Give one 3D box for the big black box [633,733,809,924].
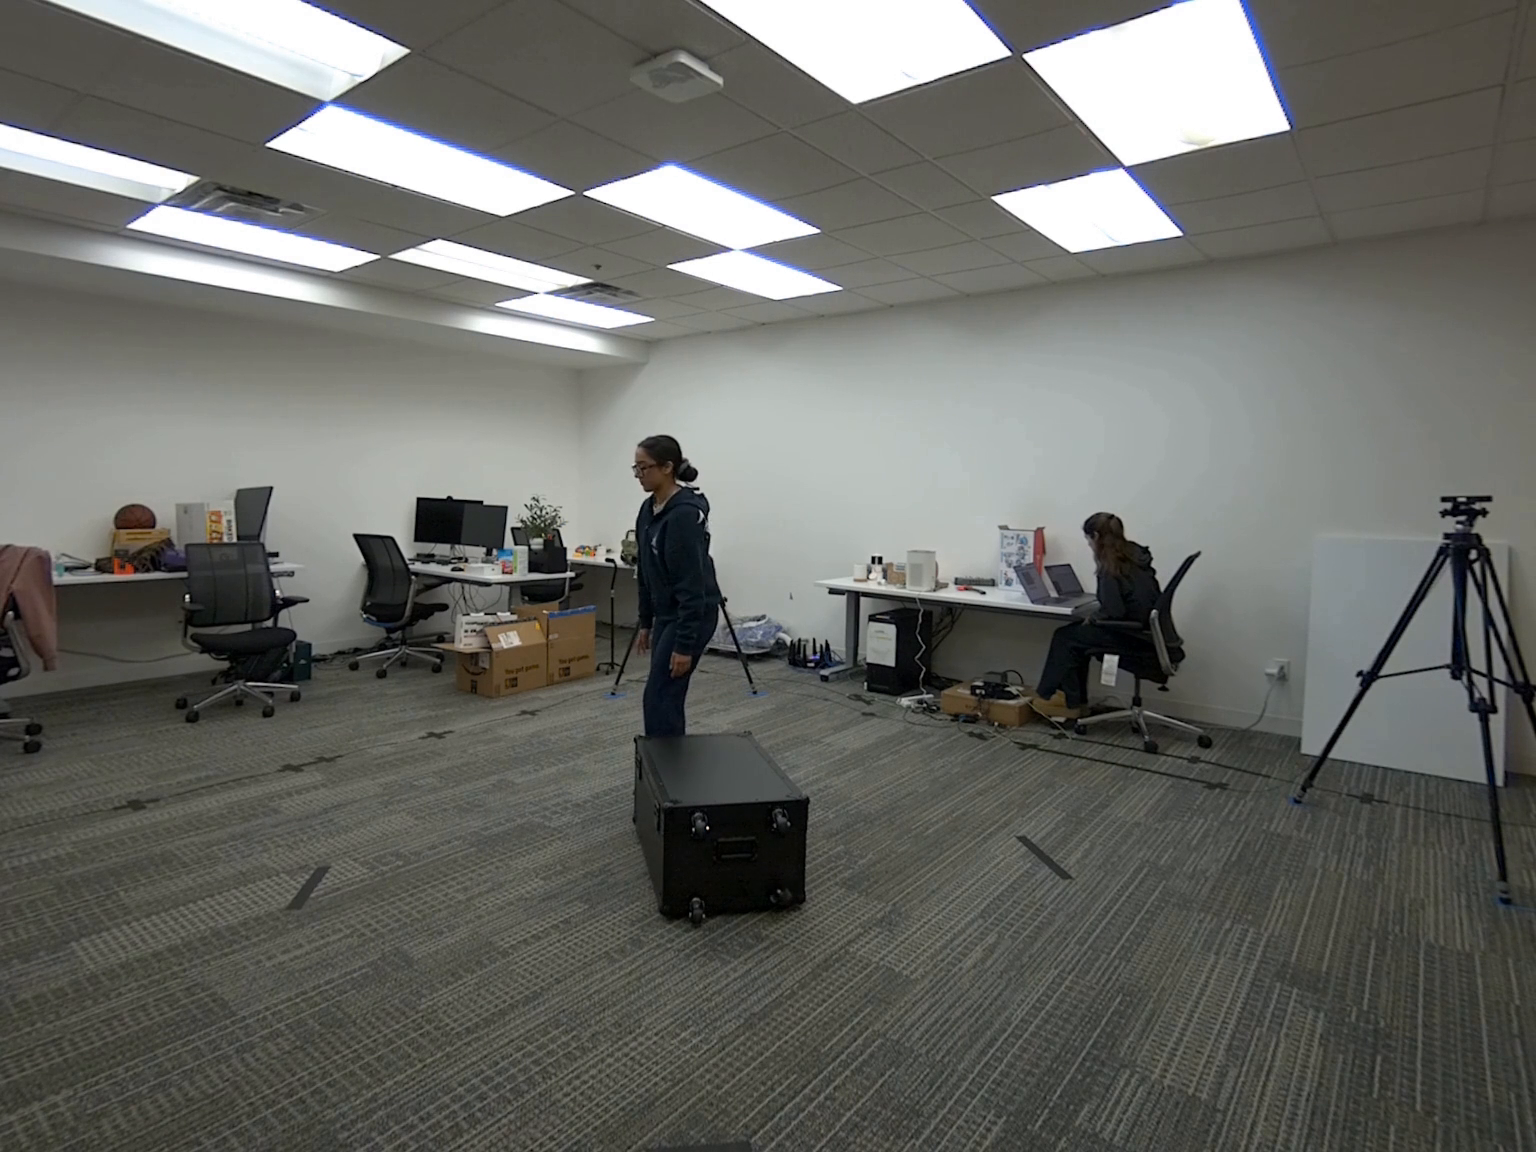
[{"bbox_3d":[-0.206,0.878,3.094,0.513,0.395,0.878,0,5,-15],"label":"big black box"}]
